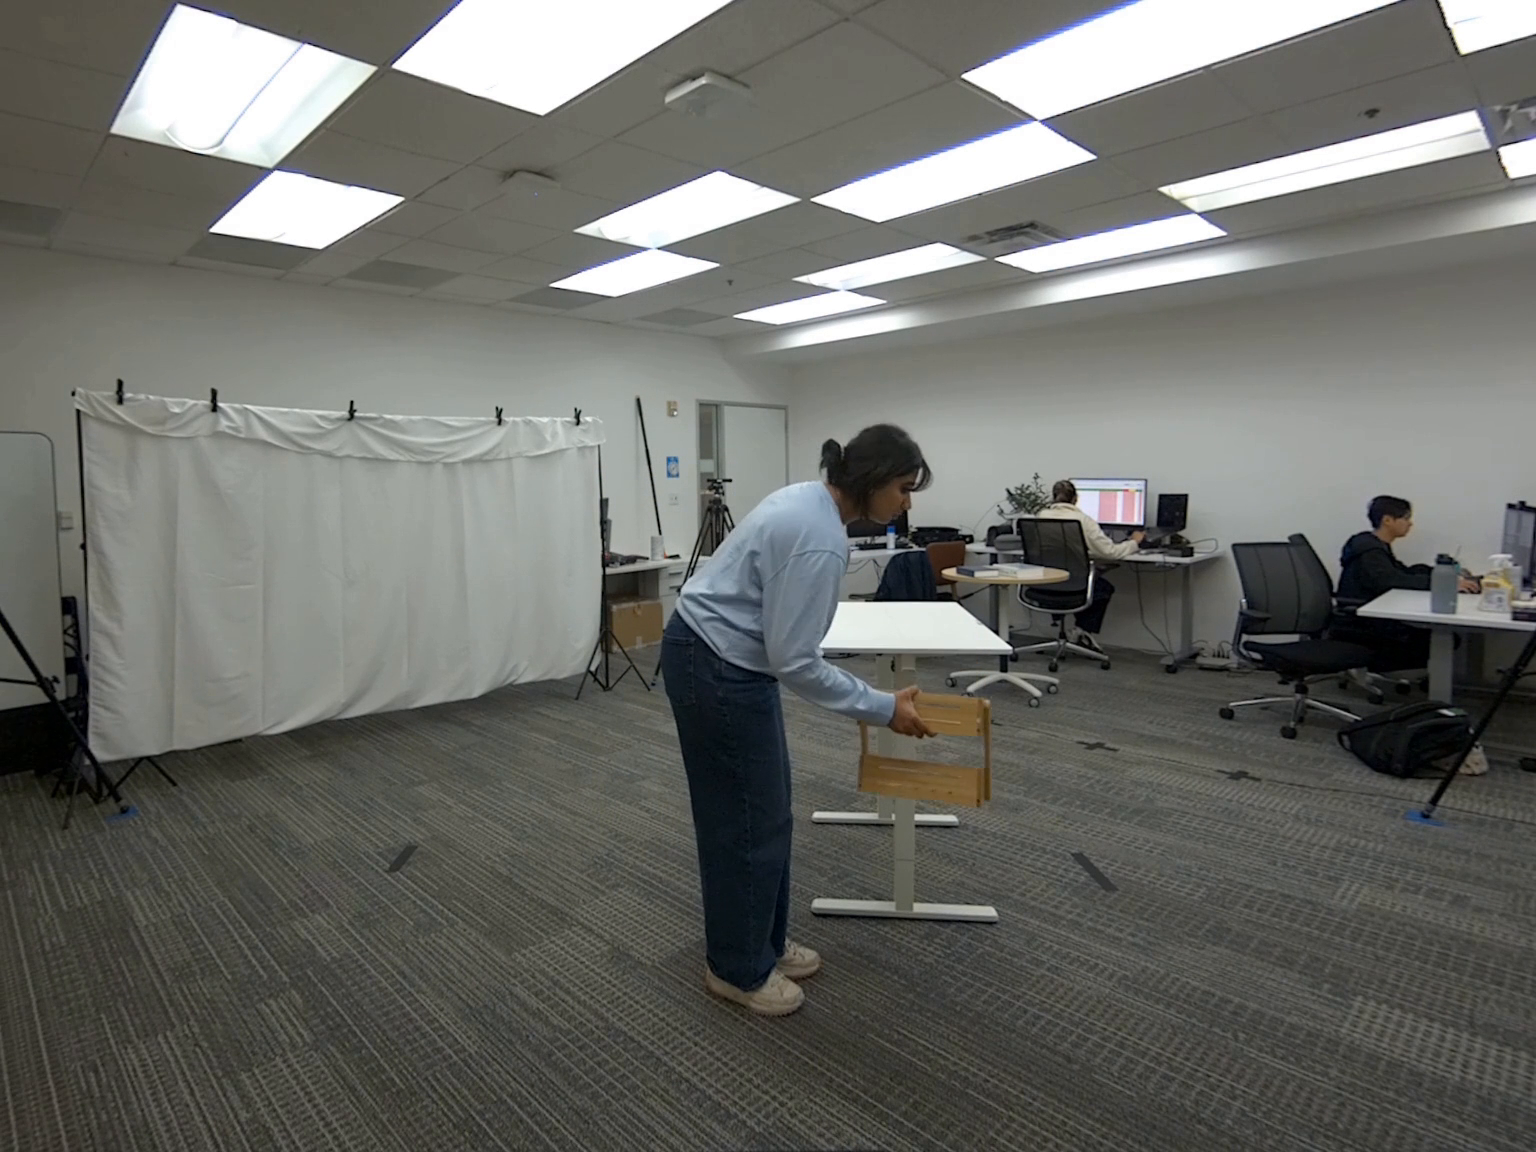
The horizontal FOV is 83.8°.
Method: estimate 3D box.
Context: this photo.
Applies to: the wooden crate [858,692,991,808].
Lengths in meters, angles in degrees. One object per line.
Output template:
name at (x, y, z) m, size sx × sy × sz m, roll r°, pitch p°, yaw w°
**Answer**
wooden crate at (0.409, 0.432, 2.230) m, size 0.331 × 0.275 × 0.294 m, roll 1°, pitch -7°, yaw 21°
